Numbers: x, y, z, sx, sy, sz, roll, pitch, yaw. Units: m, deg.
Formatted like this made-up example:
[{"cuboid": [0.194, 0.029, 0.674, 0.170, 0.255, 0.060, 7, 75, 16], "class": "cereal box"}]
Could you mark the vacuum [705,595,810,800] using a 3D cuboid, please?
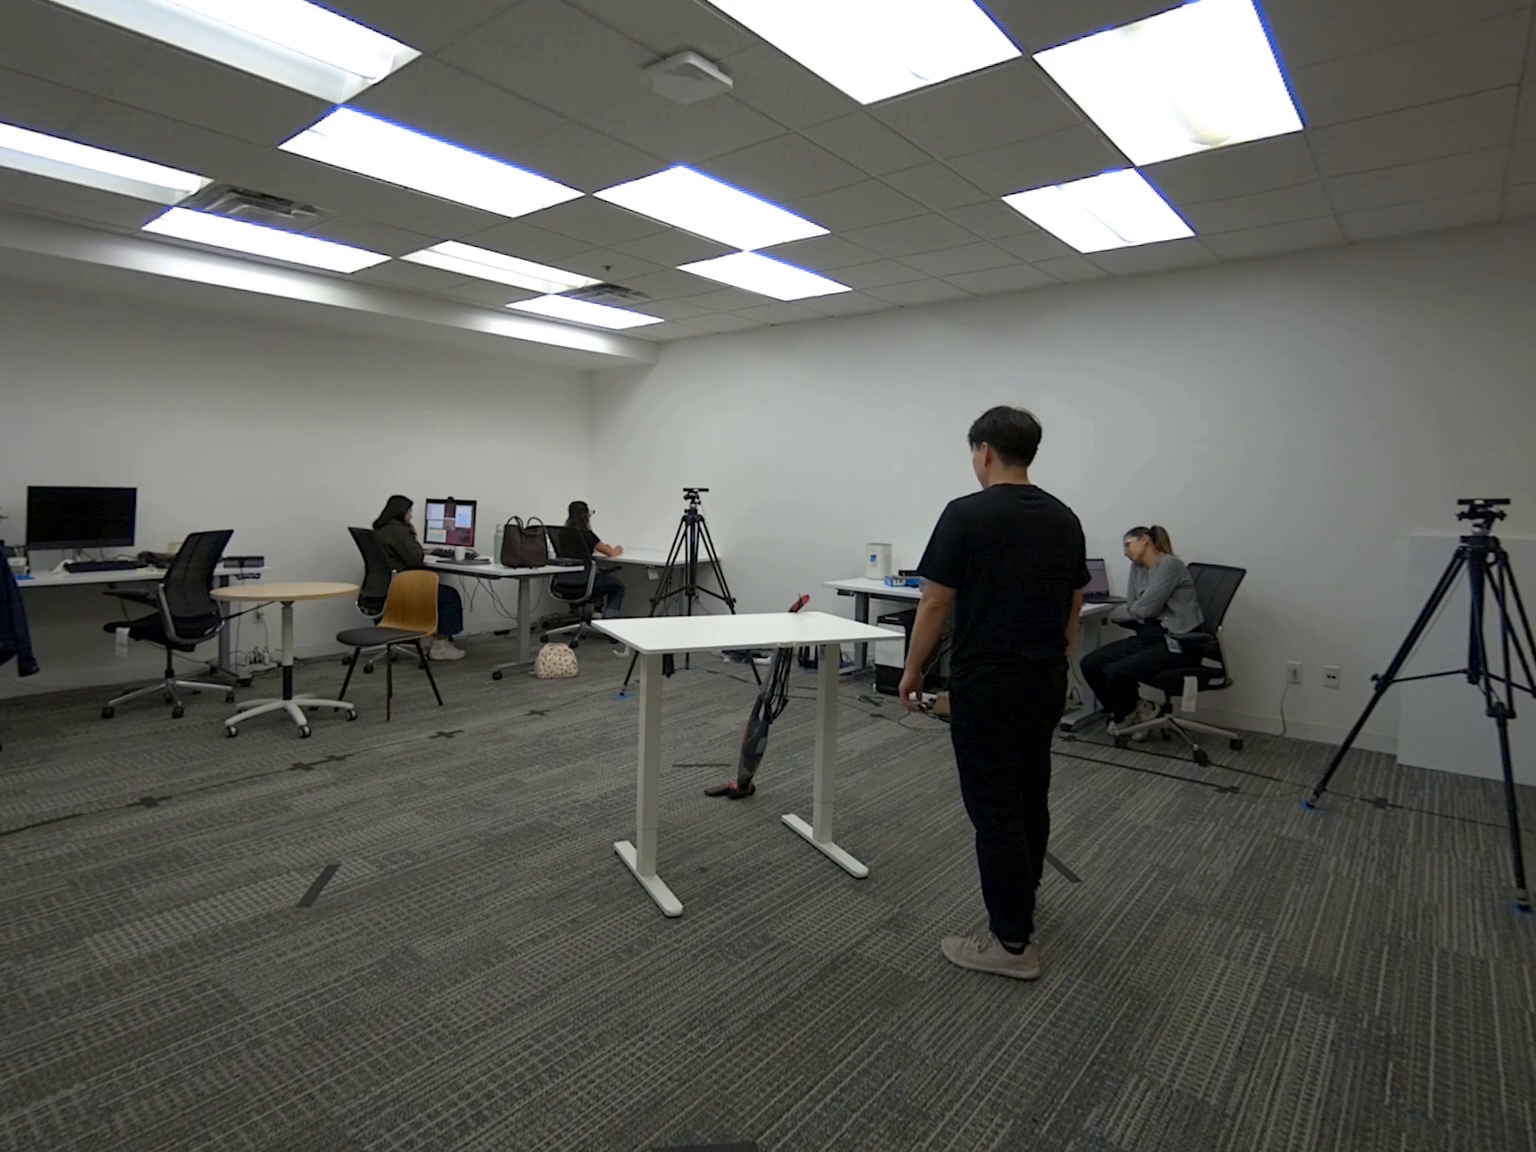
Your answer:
[{"cuboid": [-0.011, 0.534, 3.715, 0.245, 1.037, 0.150, -4, 31, -45], "class": "vacuum"}]
